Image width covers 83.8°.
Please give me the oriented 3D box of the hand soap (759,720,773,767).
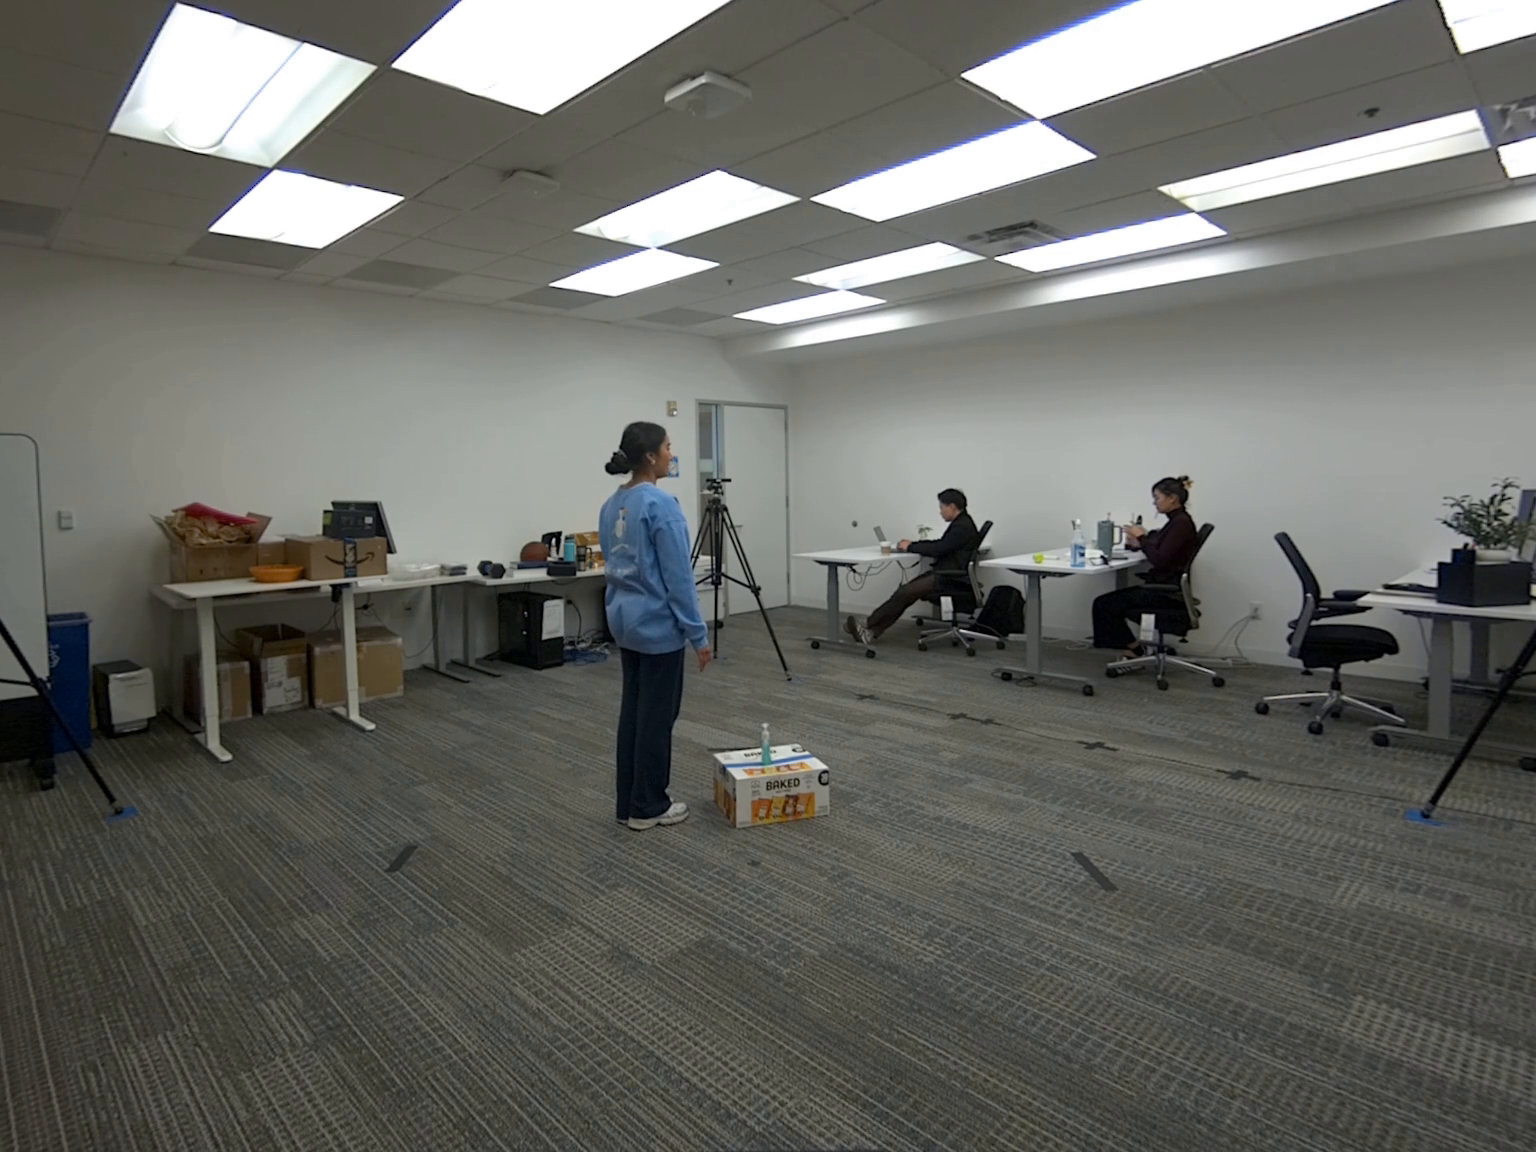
[{"bbox_3d":[-0.010,0.704,3.611,0.044,0.167,0.084,1,5,8],"label":"hand soap"}]
